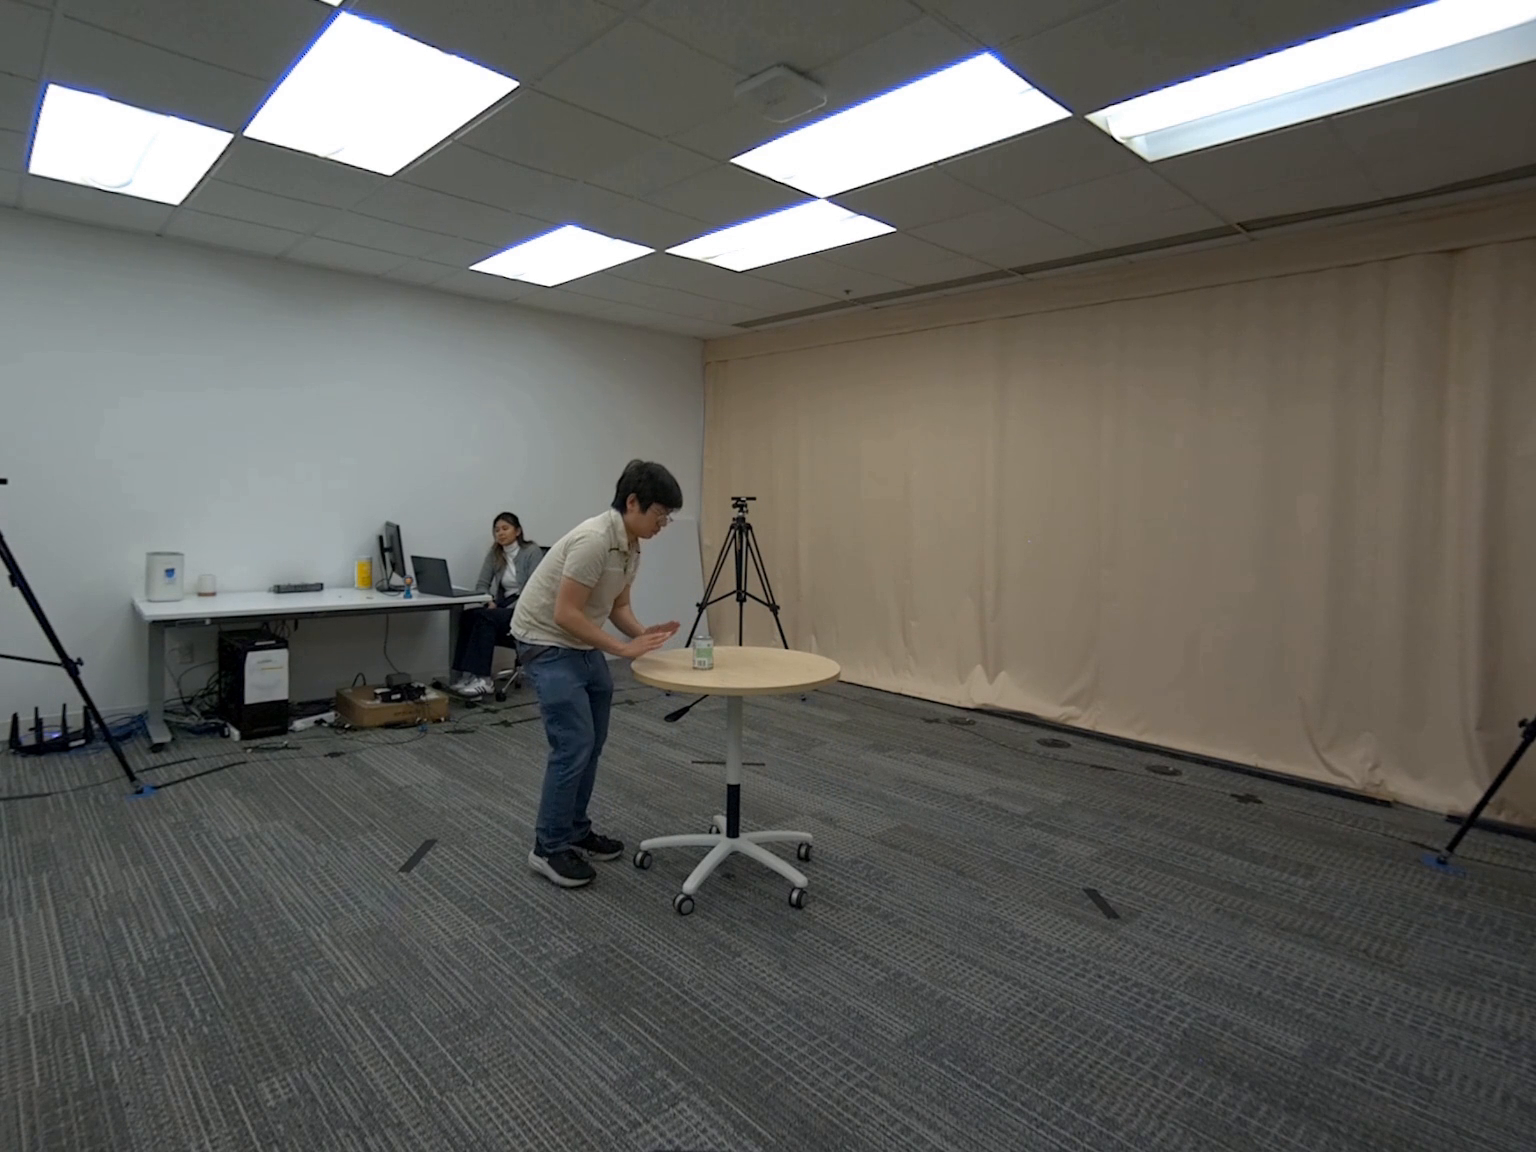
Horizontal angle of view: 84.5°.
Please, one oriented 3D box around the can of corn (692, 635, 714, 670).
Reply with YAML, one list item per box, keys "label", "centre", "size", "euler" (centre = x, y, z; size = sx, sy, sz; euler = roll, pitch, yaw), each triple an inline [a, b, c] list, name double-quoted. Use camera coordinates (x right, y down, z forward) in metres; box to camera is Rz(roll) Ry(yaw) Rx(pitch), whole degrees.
- label: "can of corn"
  centre: [-0.246, 0.276, 3.010]
  size: [0.074, 0.111, 0.074]
  euler: [1, 3, -1]
